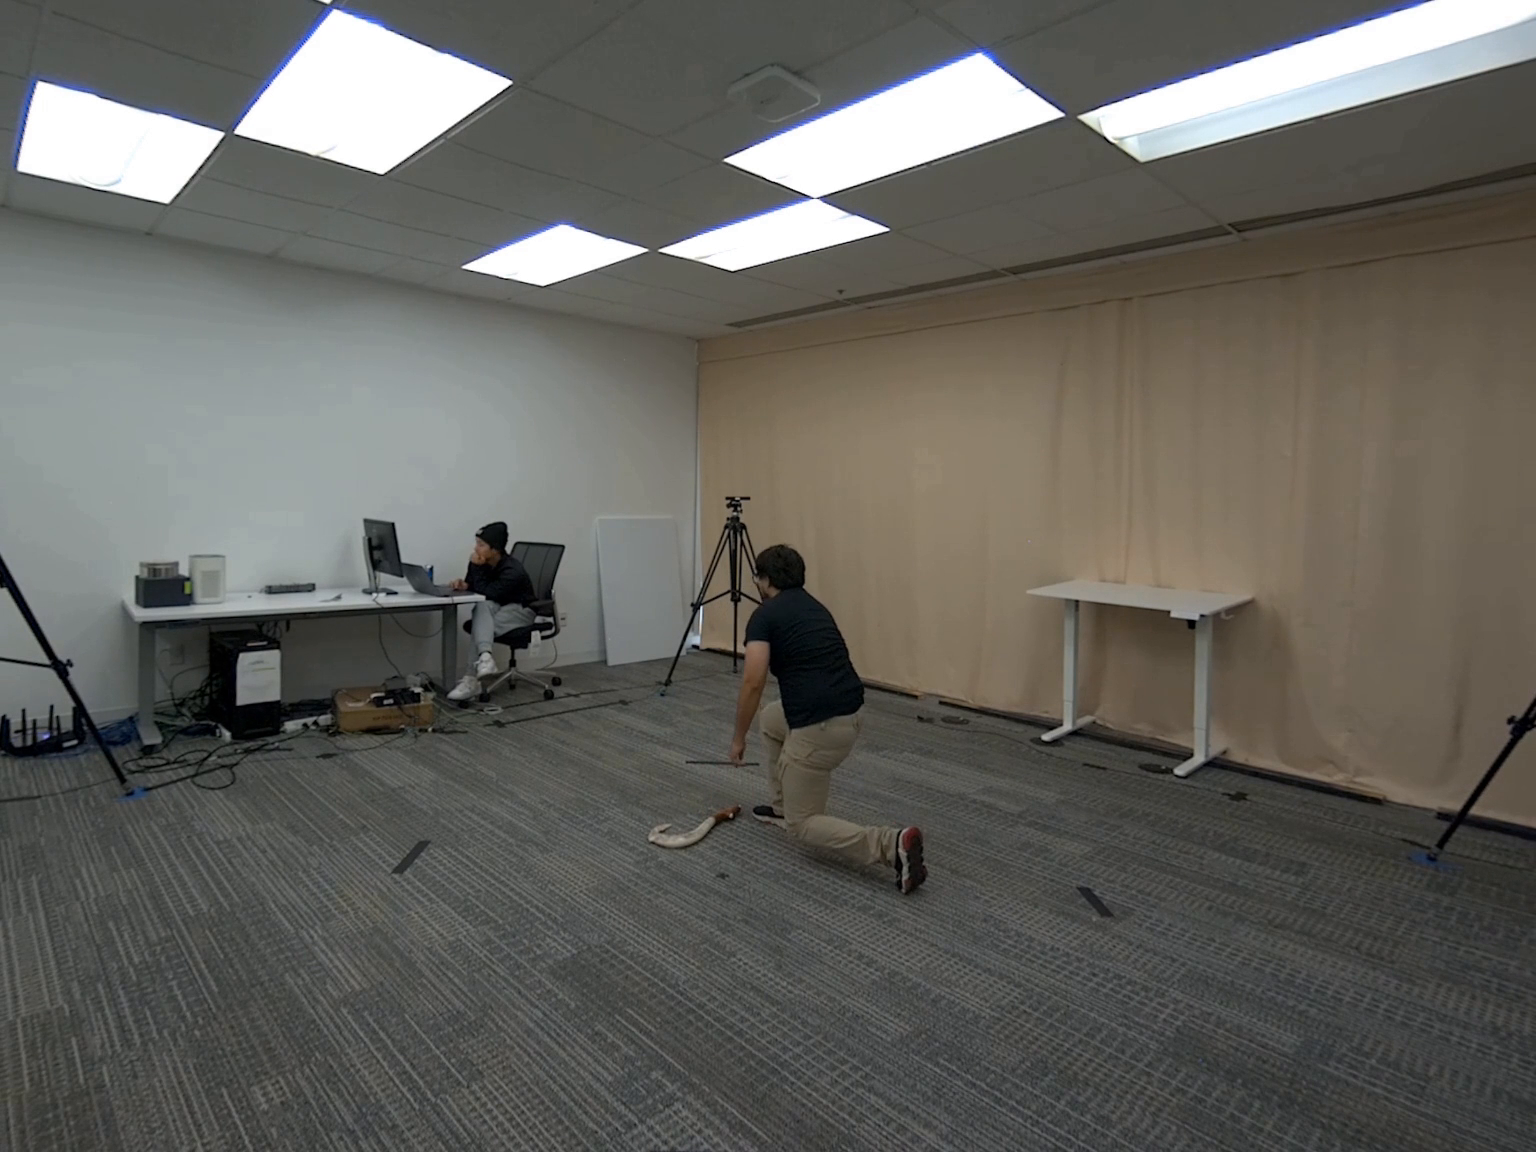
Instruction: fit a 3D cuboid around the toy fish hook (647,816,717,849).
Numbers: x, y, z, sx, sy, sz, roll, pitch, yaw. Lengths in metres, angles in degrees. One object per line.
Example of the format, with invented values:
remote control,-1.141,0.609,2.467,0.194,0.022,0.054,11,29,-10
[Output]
toy fish hook,-0.311,1.039,3.561,0.230,0.048,0.496,6,6,33
